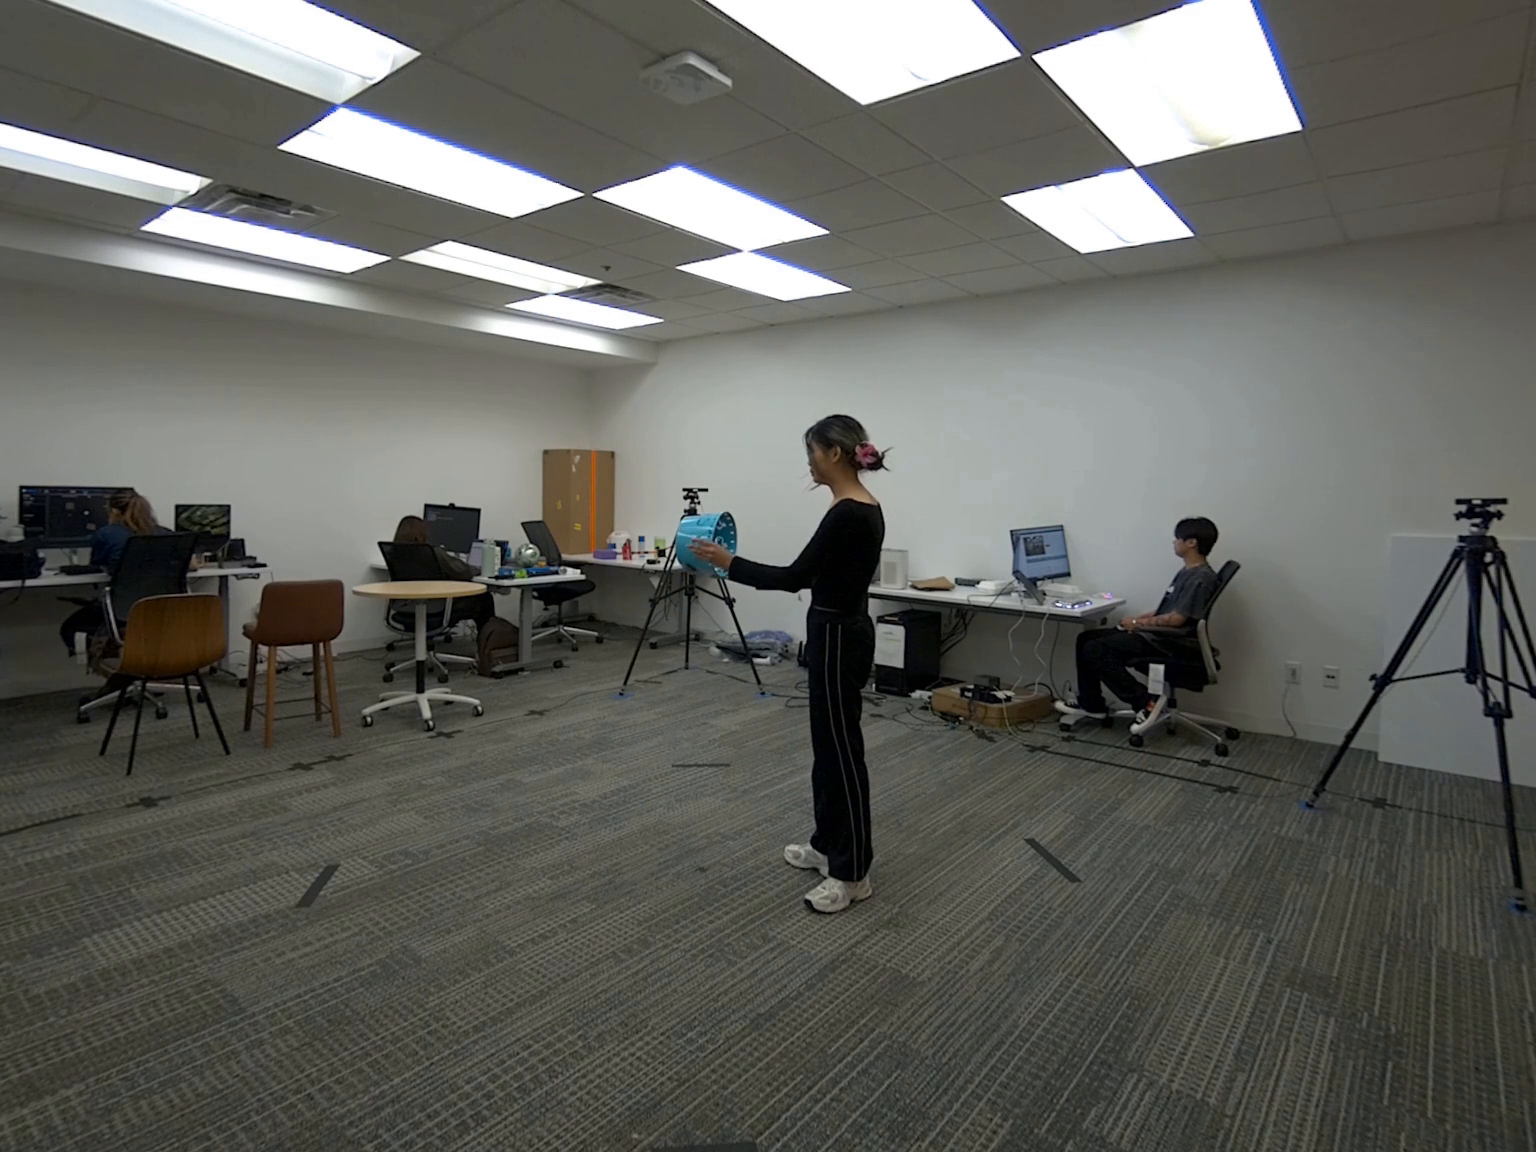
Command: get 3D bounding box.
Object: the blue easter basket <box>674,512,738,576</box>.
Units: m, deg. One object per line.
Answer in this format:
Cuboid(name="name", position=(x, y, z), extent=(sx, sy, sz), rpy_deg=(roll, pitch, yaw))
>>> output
Cuboid(name="blue easter basket", position=(-0.234, -0.117, 3.046), extent=(0.159, 0.243, 0.239), rpy_deg=(2, 4, 21))
